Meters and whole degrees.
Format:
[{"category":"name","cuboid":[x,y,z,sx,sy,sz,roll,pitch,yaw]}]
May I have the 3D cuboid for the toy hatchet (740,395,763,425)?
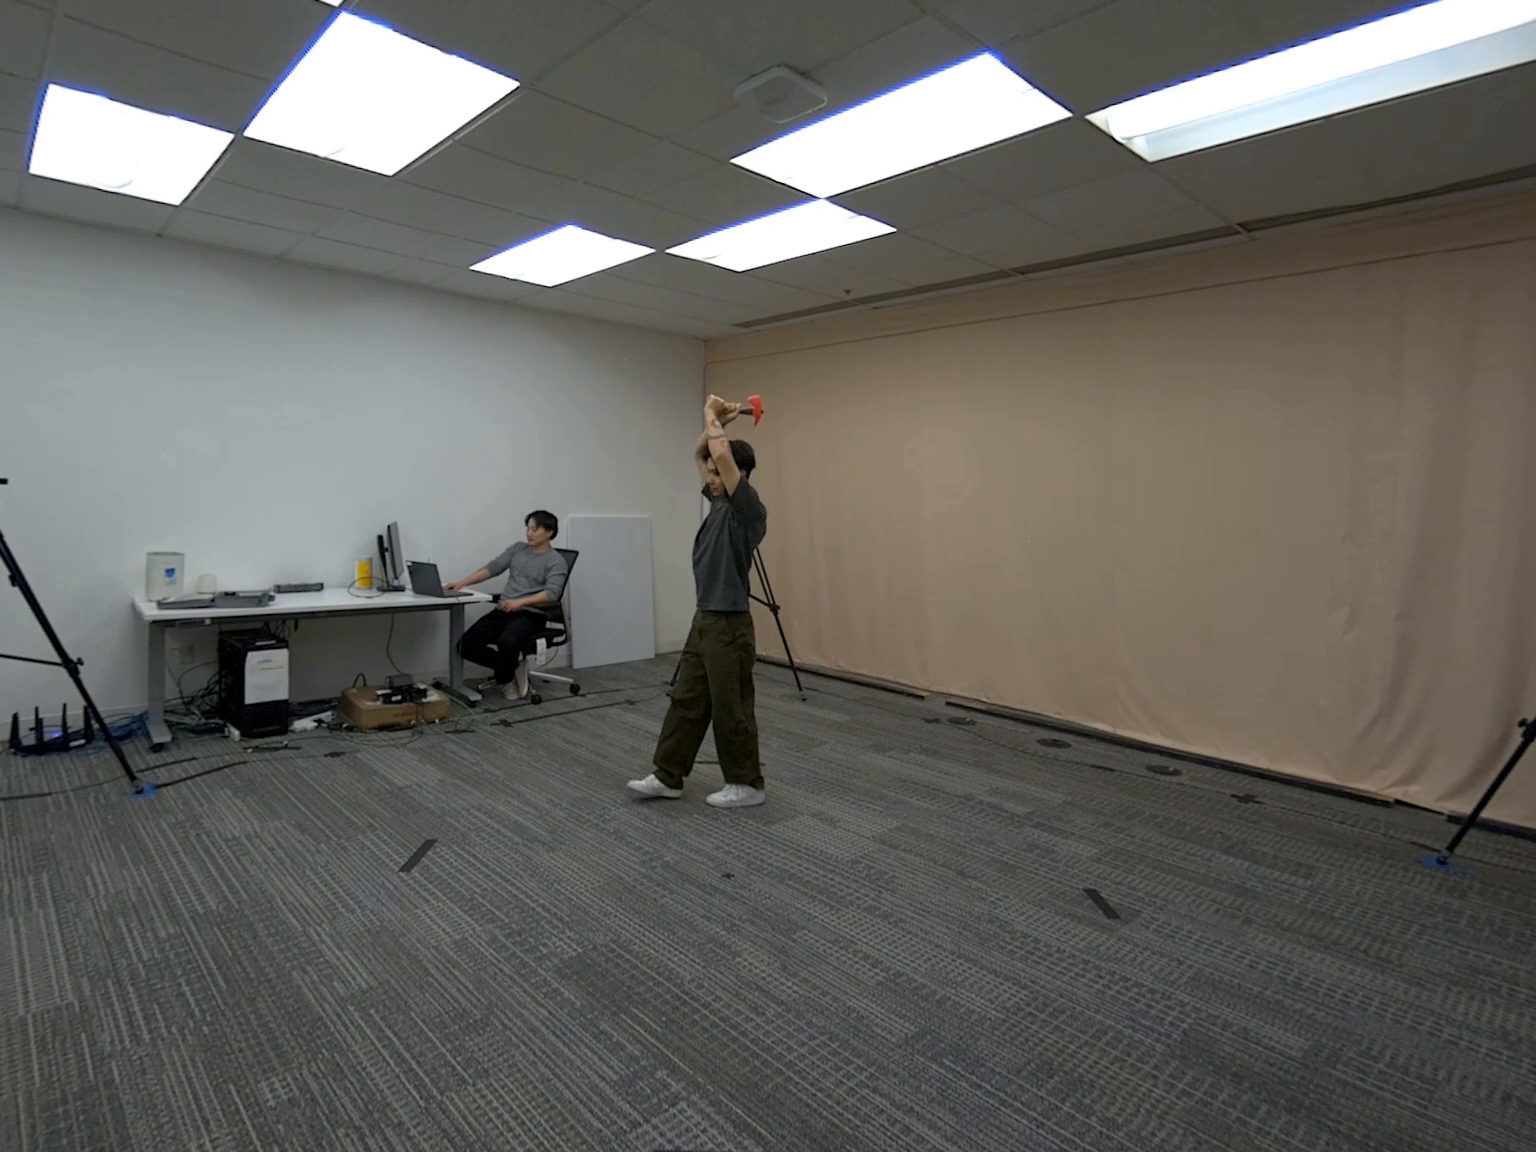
[{"category":"toy hatchet","cuboid":[-0.149,-0.772,3.749,0.265,0.130,0.030,20,18,-18]}]
